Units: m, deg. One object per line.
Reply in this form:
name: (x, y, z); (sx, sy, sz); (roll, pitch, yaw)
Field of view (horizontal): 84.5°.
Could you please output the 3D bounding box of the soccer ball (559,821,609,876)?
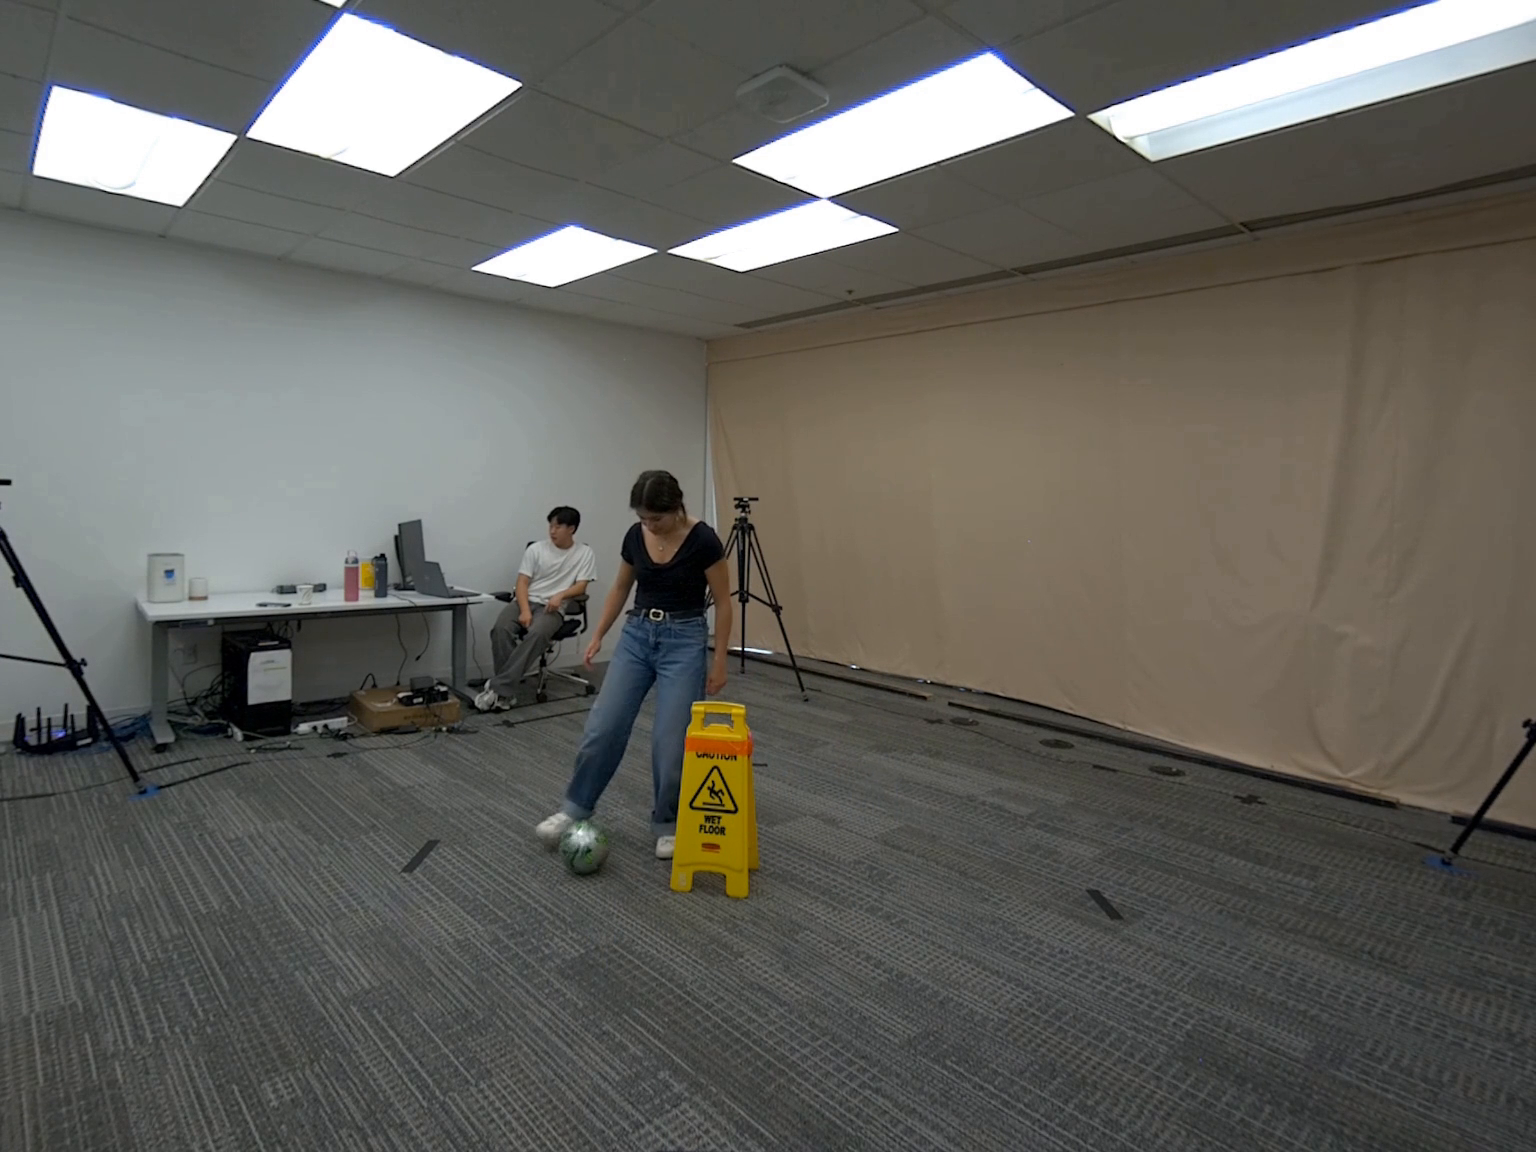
soccer ball: (-0.679, 0.998, 3.112); (0.187, 0.187, 0.188); (1, 4, -1)
